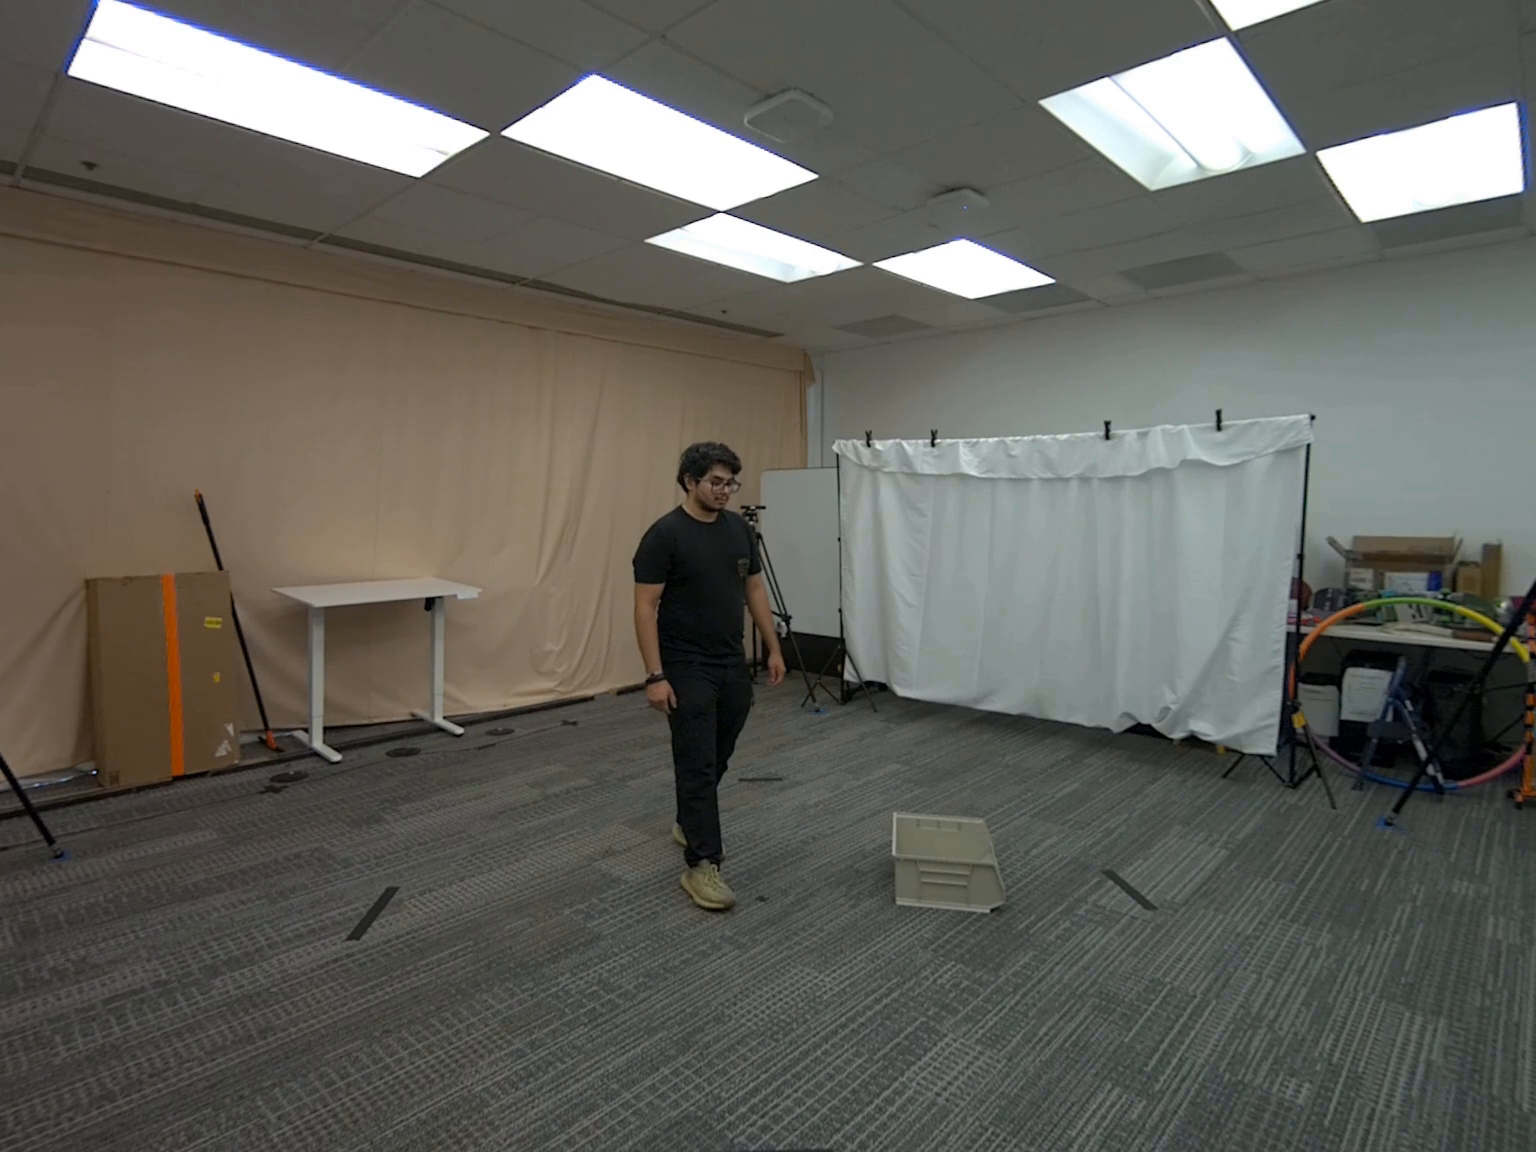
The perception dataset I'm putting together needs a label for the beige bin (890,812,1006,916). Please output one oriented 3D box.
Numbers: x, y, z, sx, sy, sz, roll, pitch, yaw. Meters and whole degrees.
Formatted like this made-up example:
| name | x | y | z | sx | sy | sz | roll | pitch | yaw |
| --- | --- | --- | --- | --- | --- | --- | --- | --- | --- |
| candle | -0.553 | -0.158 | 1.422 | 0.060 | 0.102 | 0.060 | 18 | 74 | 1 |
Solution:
| name | x | y | z | sx | sy | sz | roll | pitch | yaw |
| --- | --- | --- | --- | --- | --- | --- | --- | --- | --- |
| beige bin | 0.659 | 1.045 | 3.093 | 0.382 | 0.188 | 0.418 | 0 | 5 | 10 |
